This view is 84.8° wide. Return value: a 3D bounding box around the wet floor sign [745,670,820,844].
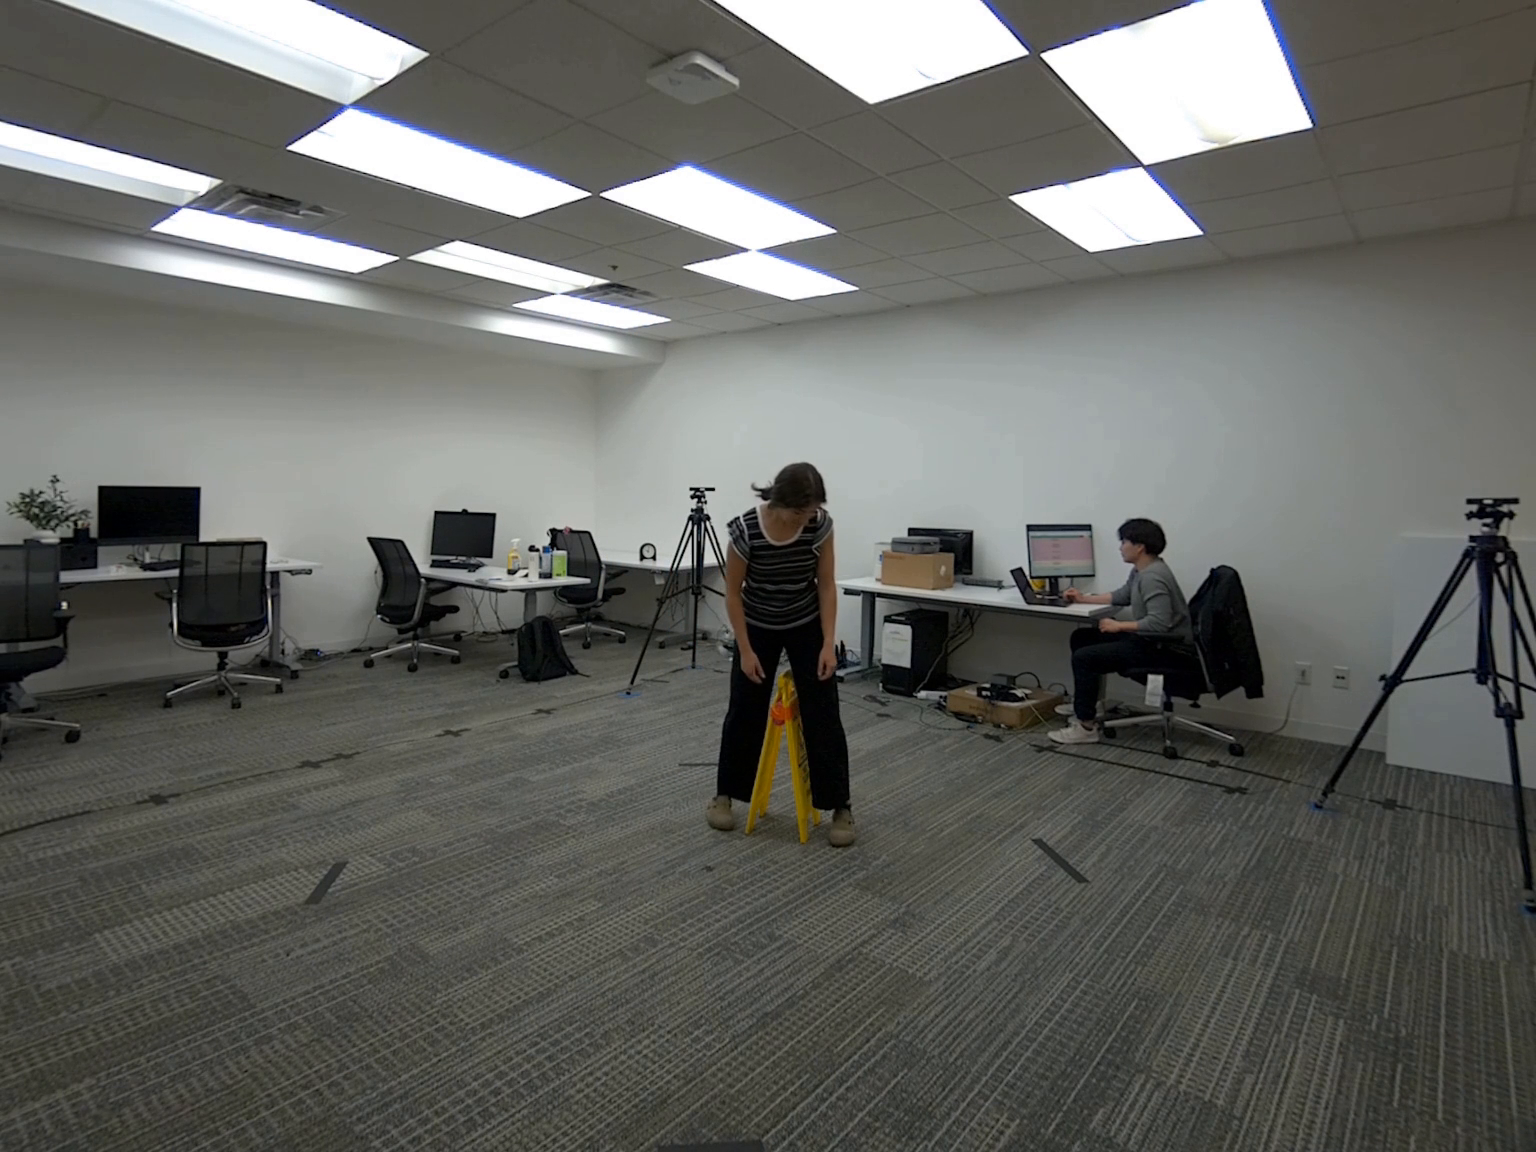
[{"bbox_3d":[0.064,0.709,3.492,0.295,0.643,0.278,3,4,16],"label":"wet floor sign"}]
